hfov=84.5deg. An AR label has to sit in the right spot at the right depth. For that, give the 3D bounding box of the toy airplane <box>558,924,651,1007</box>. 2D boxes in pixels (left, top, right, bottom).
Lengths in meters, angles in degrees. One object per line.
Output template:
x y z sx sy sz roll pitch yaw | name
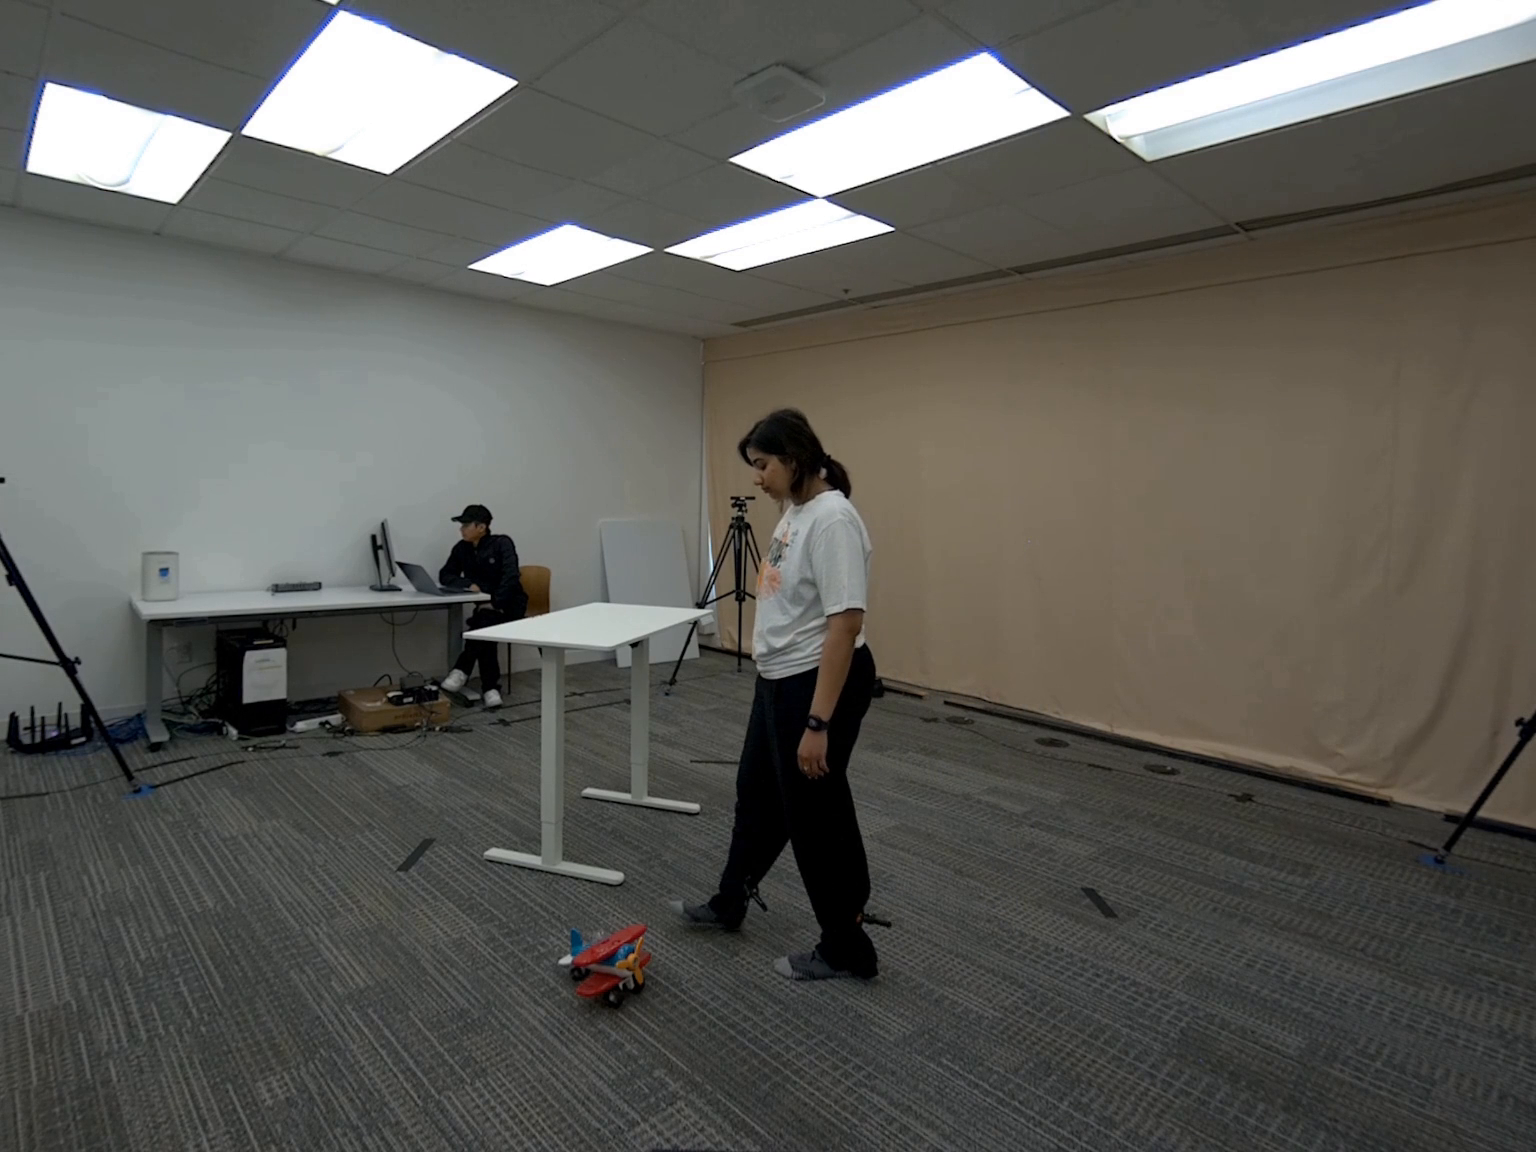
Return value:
-0.479 1.088 2.354 0.261 0.156 0.250 2 6 7 | toy airplane
